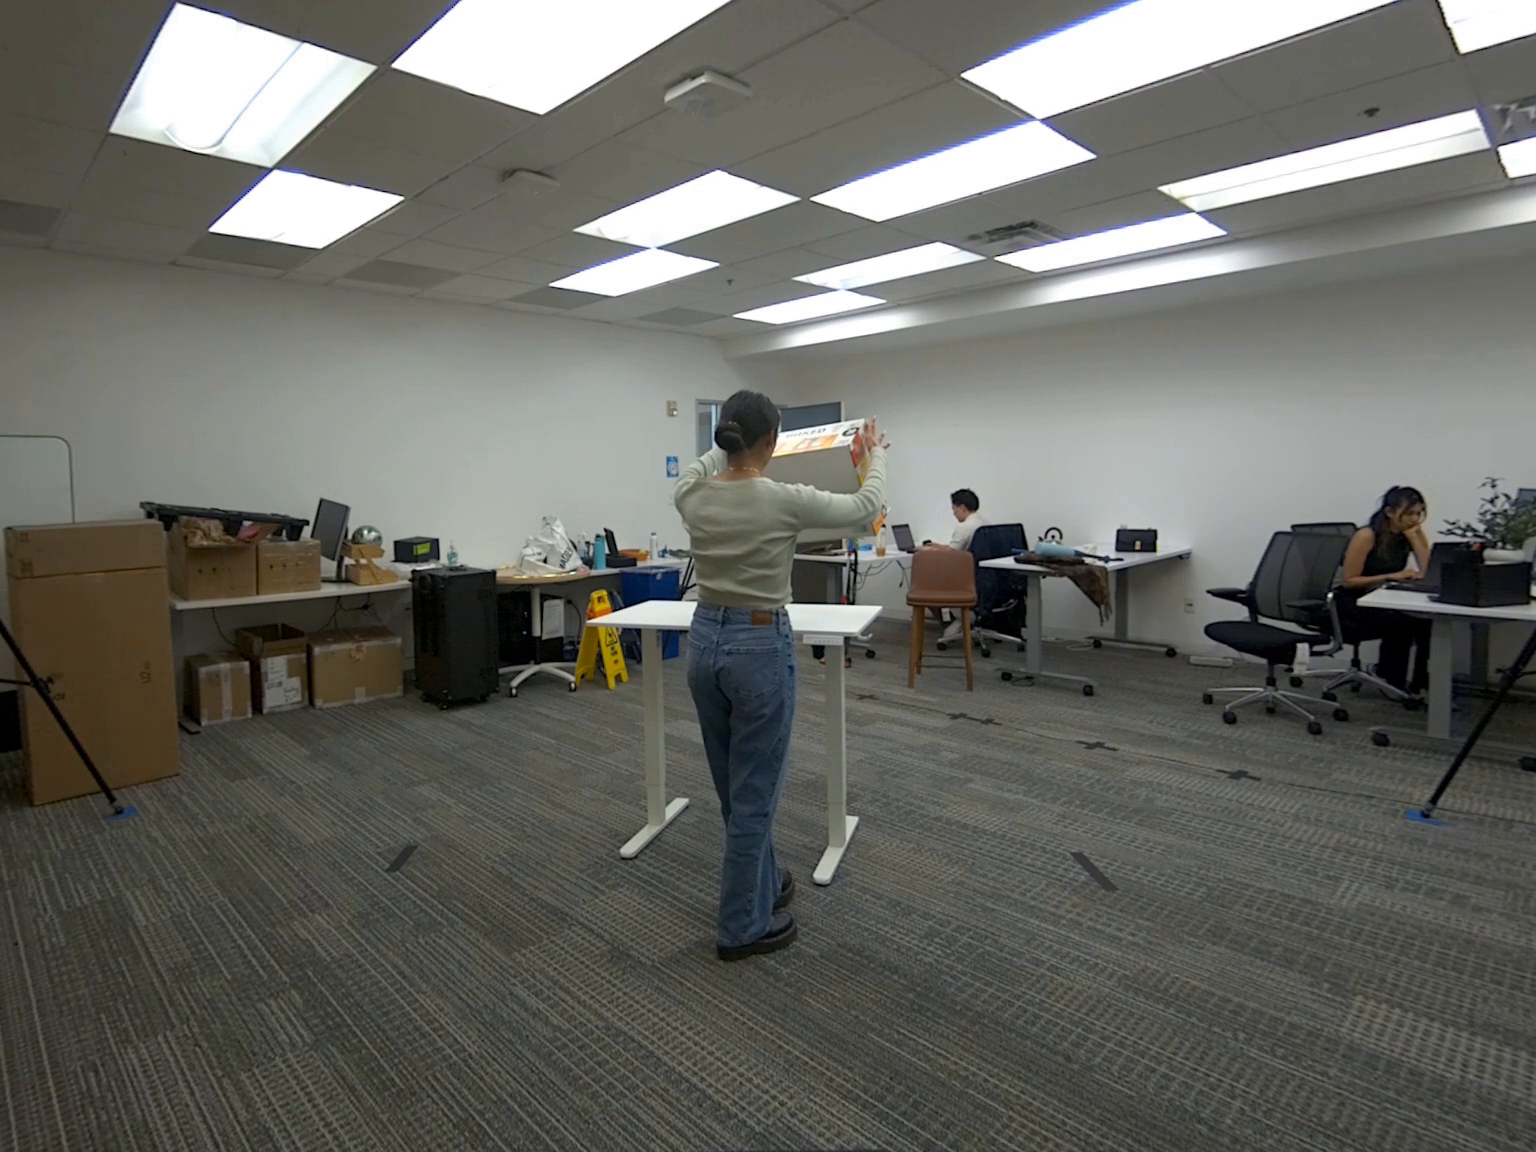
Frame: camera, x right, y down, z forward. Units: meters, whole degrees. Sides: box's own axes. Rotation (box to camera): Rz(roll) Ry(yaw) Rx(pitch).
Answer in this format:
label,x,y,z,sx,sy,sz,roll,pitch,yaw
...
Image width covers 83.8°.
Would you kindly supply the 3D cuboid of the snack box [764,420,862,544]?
label,x,y,z,sx,sy,sz,roll,pitch,yaw
snack box,0.167,-0.313,2.924,0.414,0.331,0.206,-5,28,29
